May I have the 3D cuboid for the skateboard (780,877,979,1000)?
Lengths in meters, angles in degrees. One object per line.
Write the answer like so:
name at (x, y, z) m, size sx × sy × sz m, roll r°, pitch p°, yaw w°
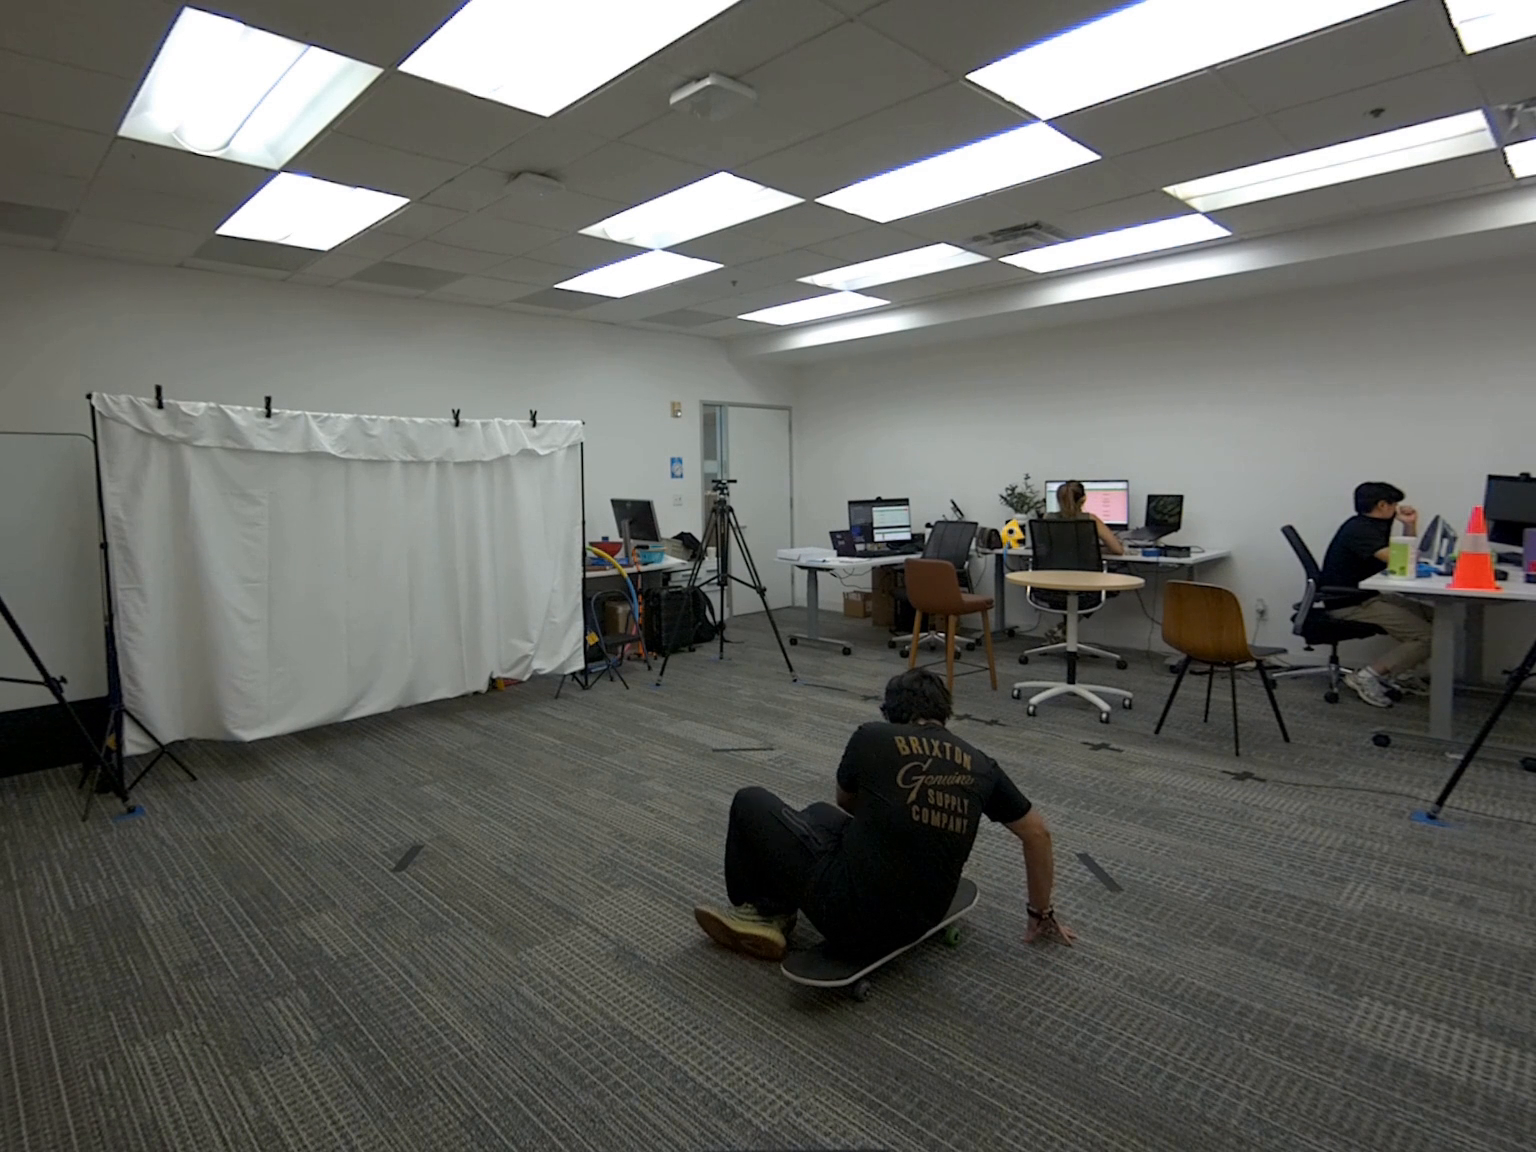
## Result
skateboard at (0.351, 1.053, 2.478) m, size 0.766 × 0.110 × 0.199 m, roll -8°, pitch 5°, yaw -40°
